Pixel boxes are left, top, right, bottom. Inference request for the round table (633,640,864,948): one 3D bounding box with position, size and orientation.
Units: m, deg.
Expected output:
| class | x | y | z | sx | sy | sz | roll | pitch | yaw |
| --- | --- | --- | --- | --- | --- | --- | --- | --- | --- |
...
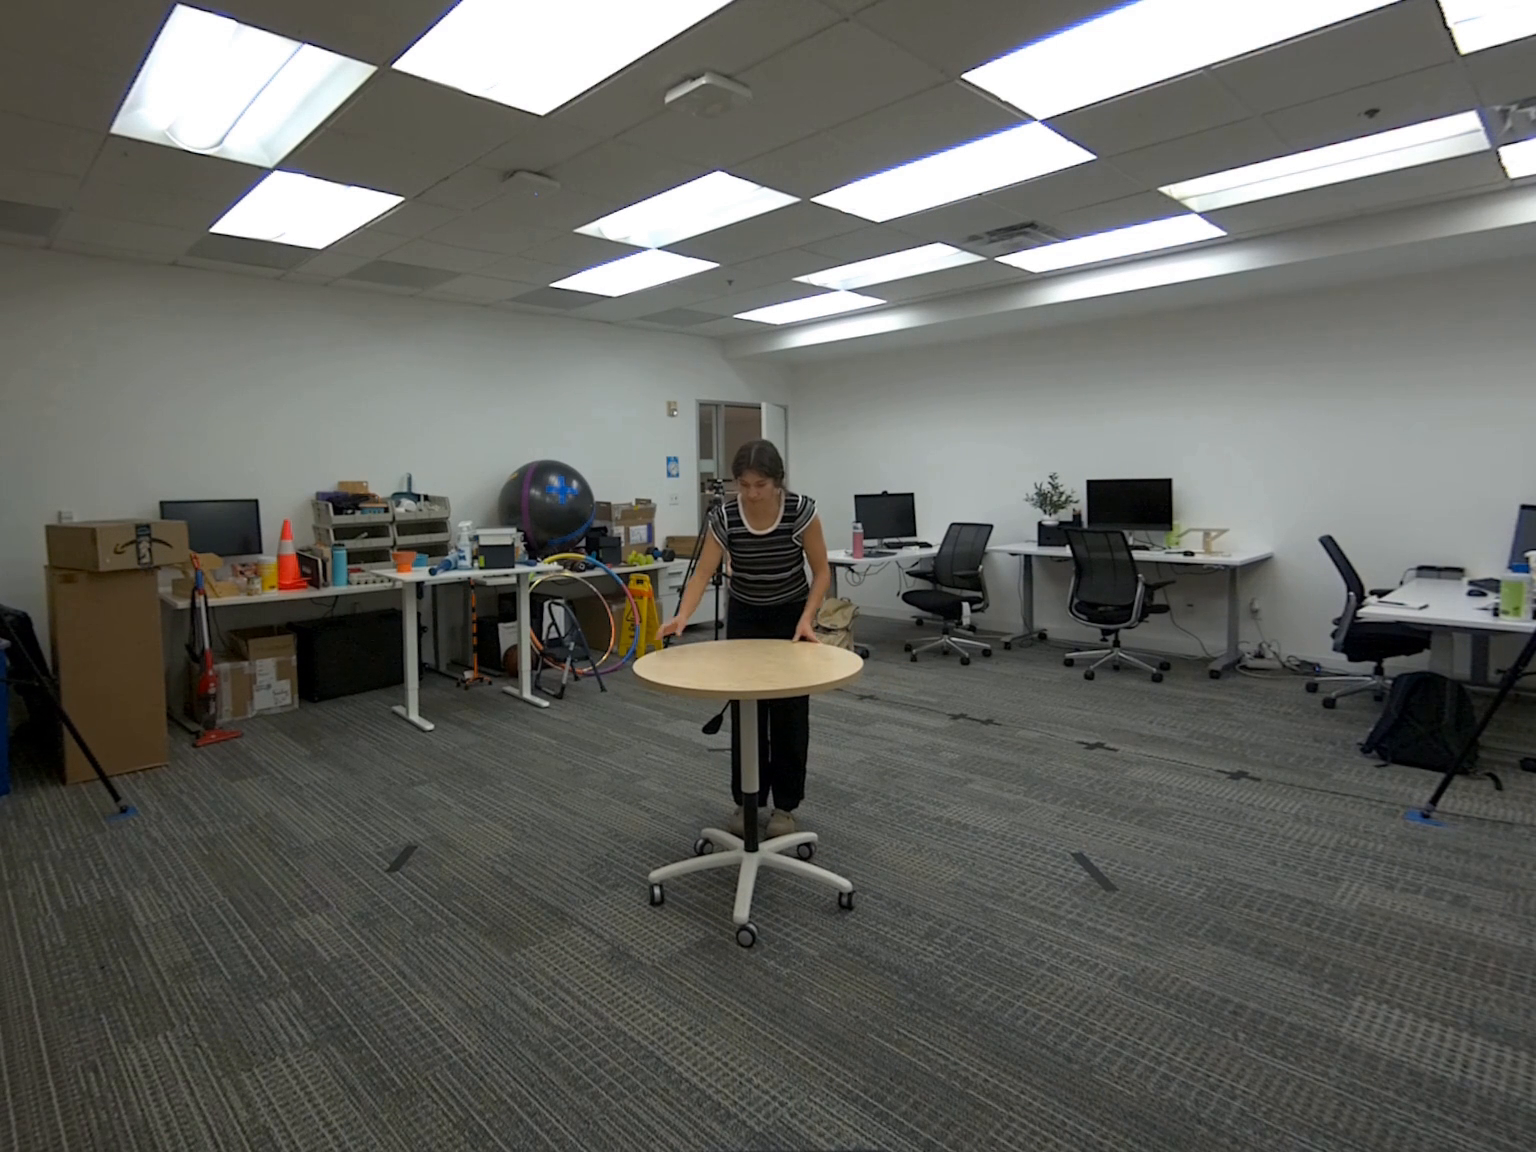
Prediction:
| class | x | y | z | sx | sy | sz | roll | pitch | yaw |
| --- | --- | --- | --- | --- | --- | --- | --- | --- | --- |
| round table | -0.064 | 0.676 | 2.889 | 0.784 | 0.783 | 0.790 | -1 | 6 | -2 |
